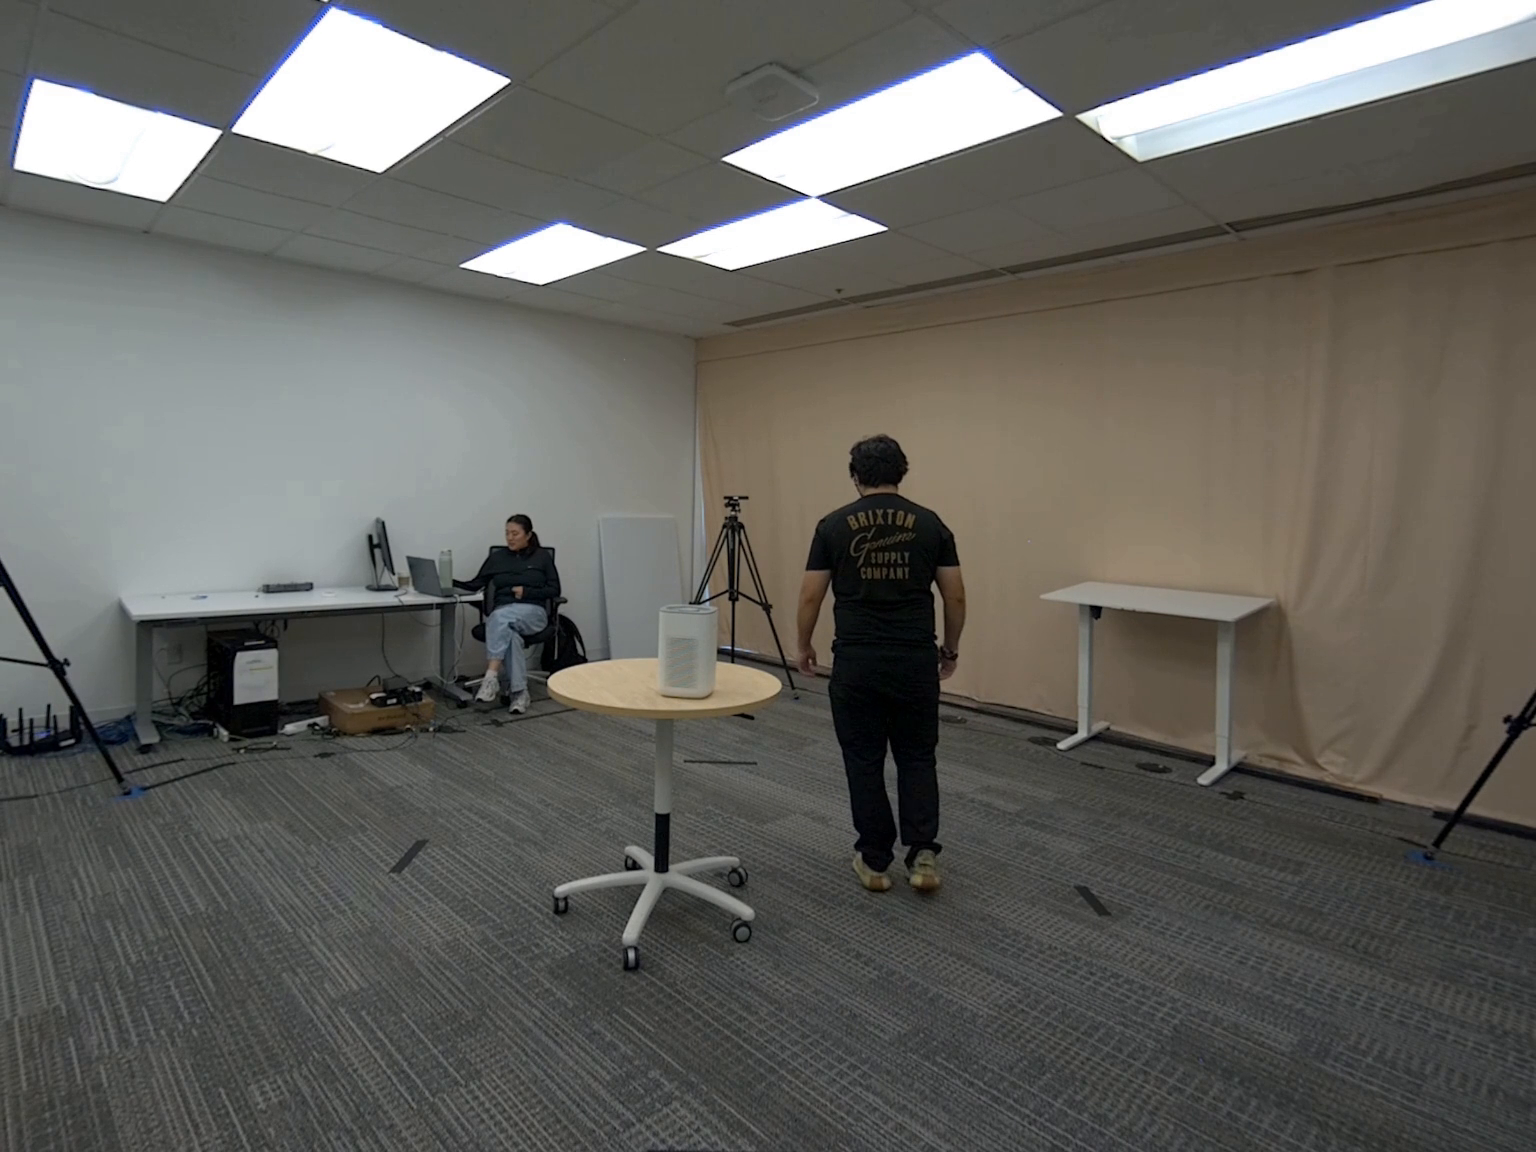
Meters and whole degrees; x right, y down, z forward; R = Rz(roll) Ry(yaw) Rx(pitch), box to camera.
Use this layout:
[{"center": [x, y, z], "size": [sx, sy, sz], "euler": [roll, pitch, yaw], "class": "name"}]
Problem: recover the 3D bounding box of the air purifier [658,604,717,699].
[{"center": [-0.253, 0.231, 2.599], "size": [0.173, 0.264, 0.170], "euler": [2, 4, 9], "class": "air purifier"}]
